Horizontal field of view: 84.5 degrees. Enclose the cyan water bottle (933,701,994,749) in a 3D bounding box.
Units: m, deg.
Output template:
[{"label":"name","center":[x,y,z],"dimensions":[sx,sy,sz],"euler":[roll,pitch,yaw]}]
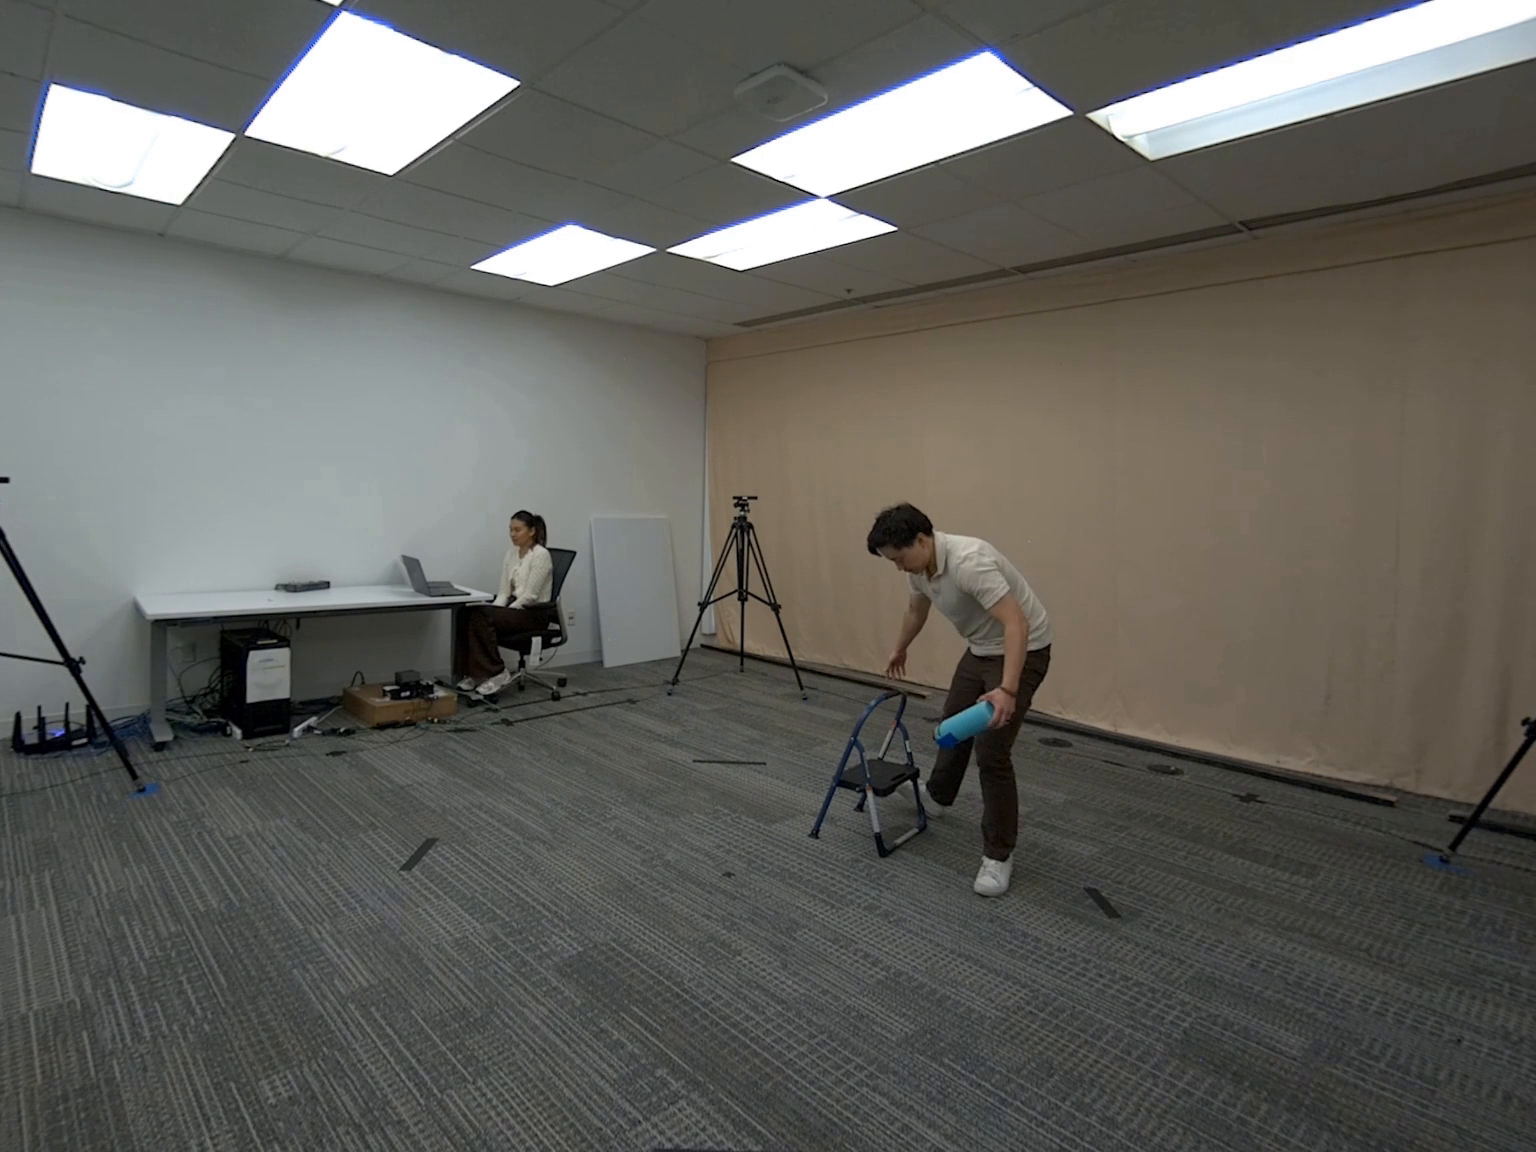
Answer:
[{"label":"cyan water bottle","center":[0.682,0.532,2.974],"dimensions":[0.090,0.094,0.284],"euler":[-2,-28,-39]}]
